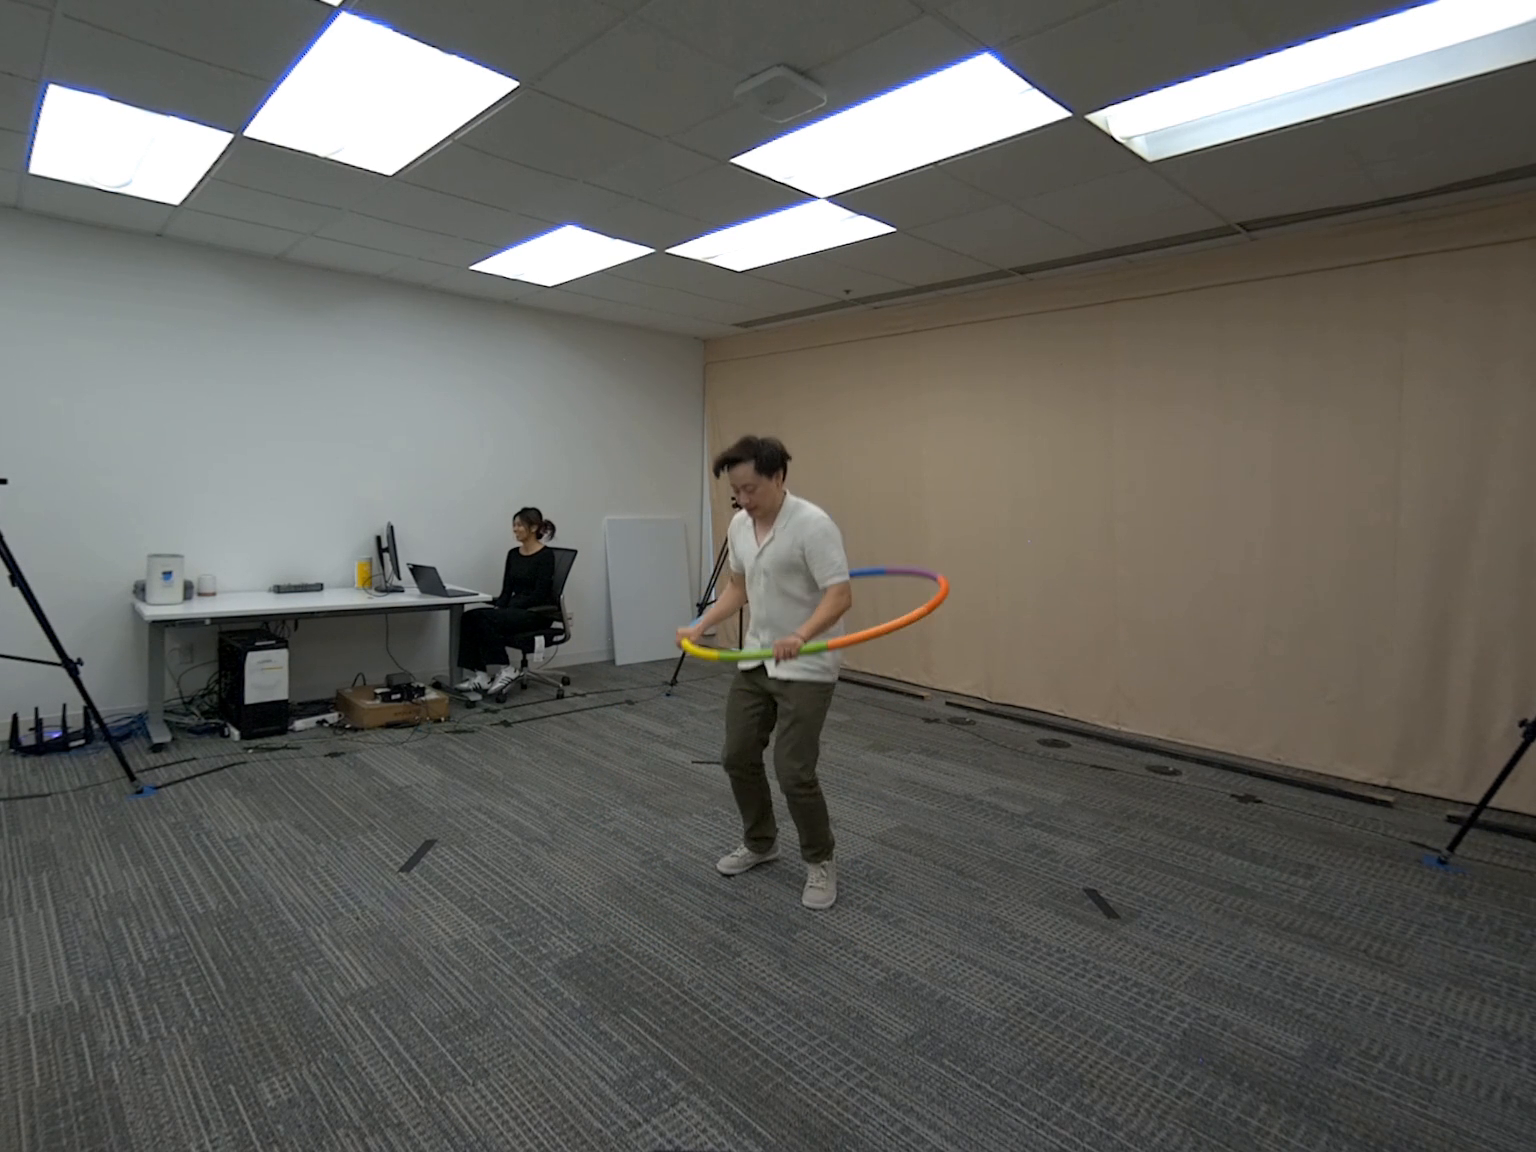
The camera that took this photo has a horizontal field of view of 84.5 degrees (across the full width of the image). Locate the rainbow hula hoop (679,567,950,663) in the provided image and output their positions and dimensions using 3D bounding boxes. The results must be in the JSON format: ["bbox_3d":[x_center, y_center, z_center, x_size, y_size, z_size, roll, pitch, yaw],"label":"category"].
[{"bbox_3d":[0.128,0.141,3.066,0.979,0.035,0.986,-14,11,1],"label":"rainbow hula hoop"}]
